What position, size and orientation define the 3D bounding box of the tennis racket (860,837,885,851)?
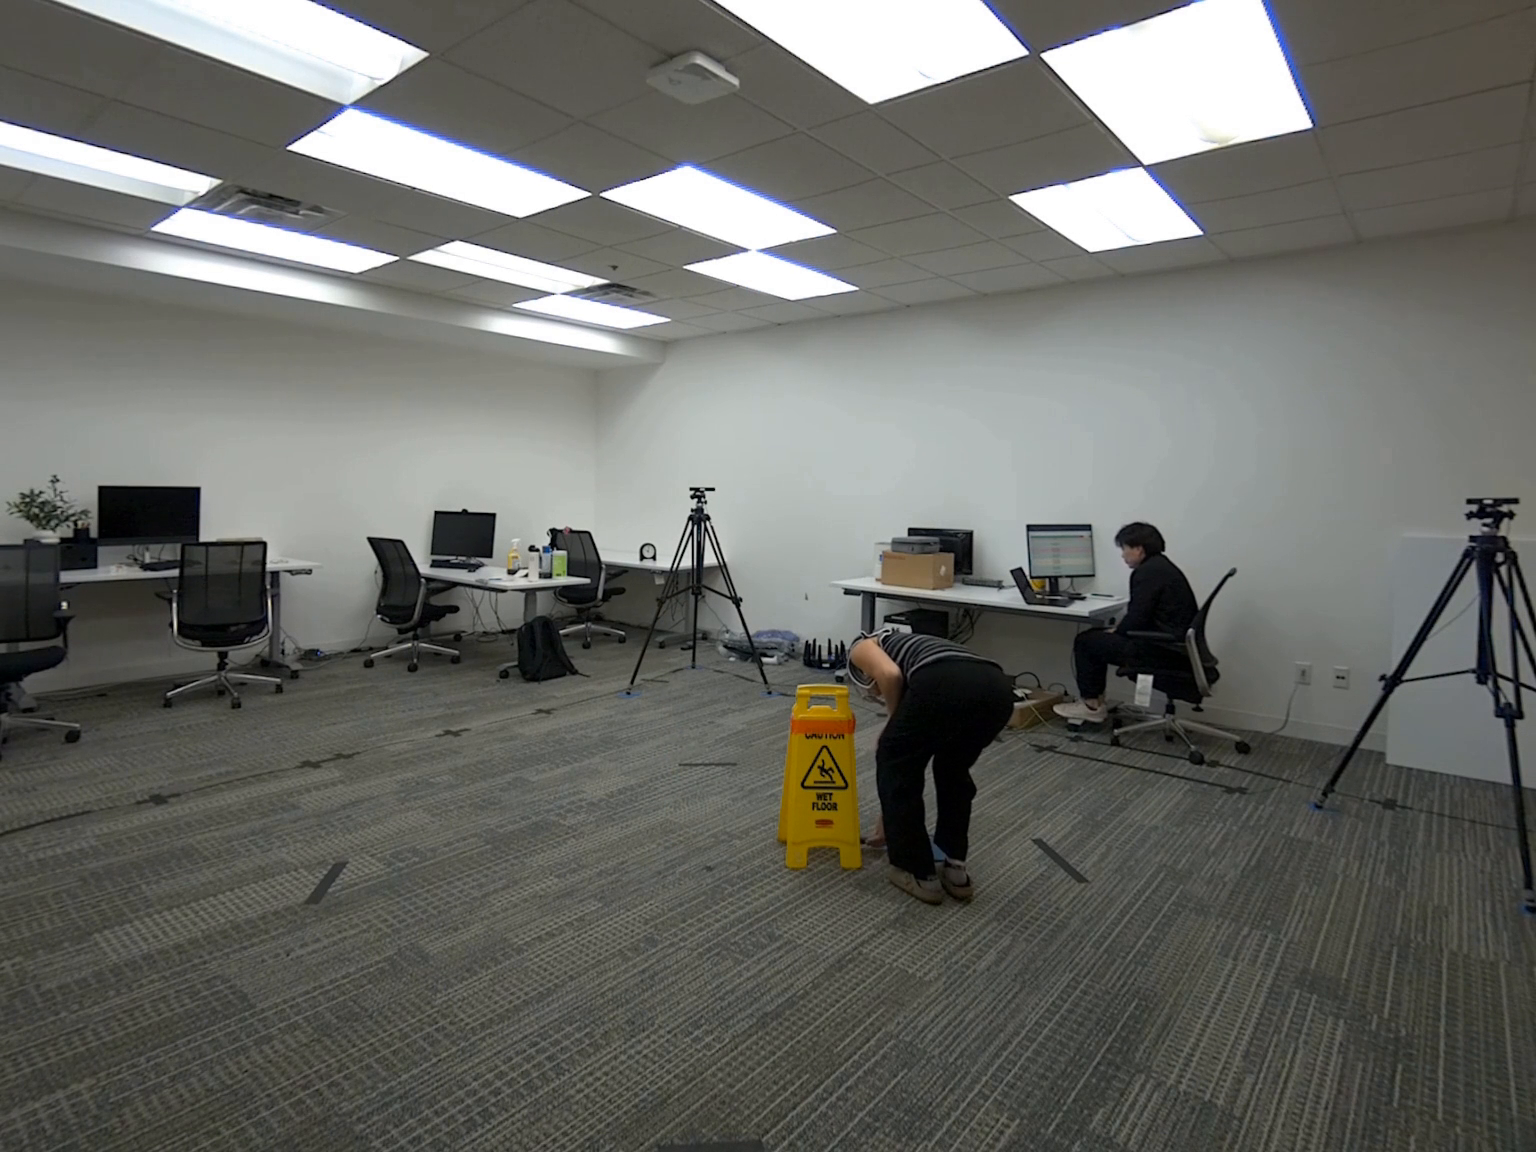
[{"bbox_3d":[0.557,1.038,3.303,0.432,0.031,0.215,5,7,-2],"label":"tennis racket"}]
